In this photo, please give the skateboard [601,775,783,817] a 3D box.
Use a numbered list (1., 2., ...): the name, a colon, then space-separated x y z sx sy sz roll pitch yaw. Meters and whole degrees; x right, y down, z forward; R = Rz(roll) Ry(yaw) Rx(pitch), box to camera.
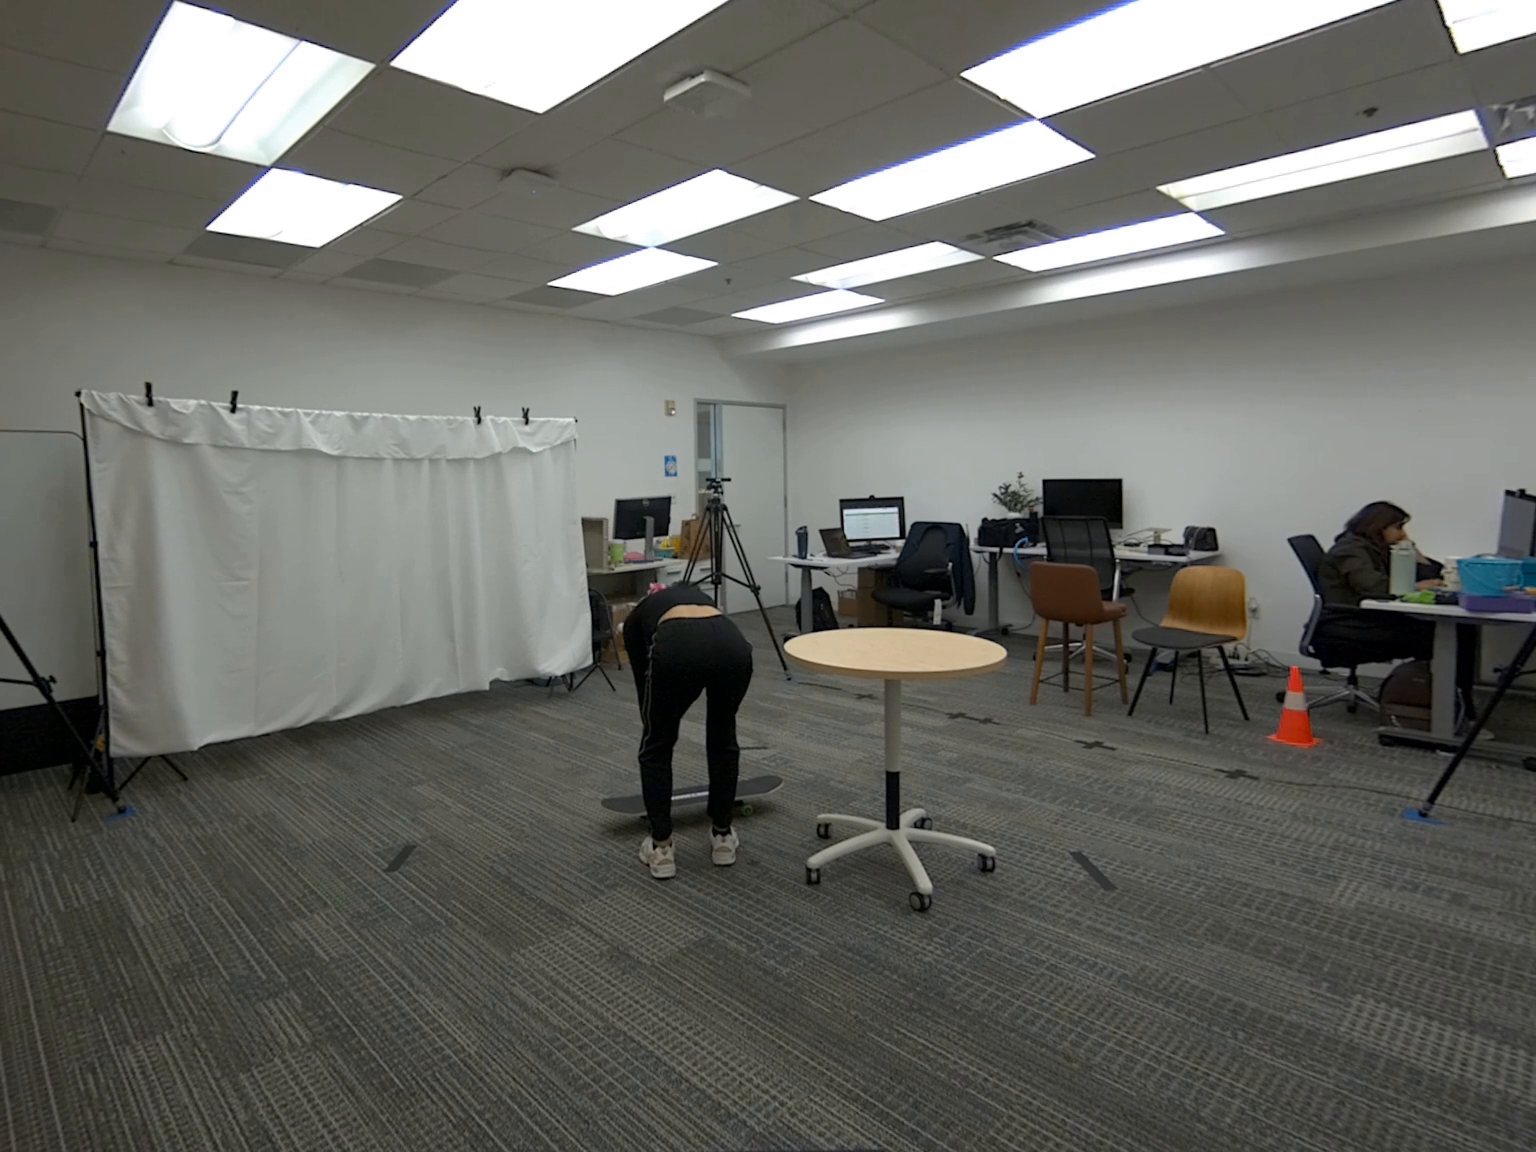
1. skateboard: -0.303 0.935 3.534 0.771 0.110 0.198 -3 6 -20
